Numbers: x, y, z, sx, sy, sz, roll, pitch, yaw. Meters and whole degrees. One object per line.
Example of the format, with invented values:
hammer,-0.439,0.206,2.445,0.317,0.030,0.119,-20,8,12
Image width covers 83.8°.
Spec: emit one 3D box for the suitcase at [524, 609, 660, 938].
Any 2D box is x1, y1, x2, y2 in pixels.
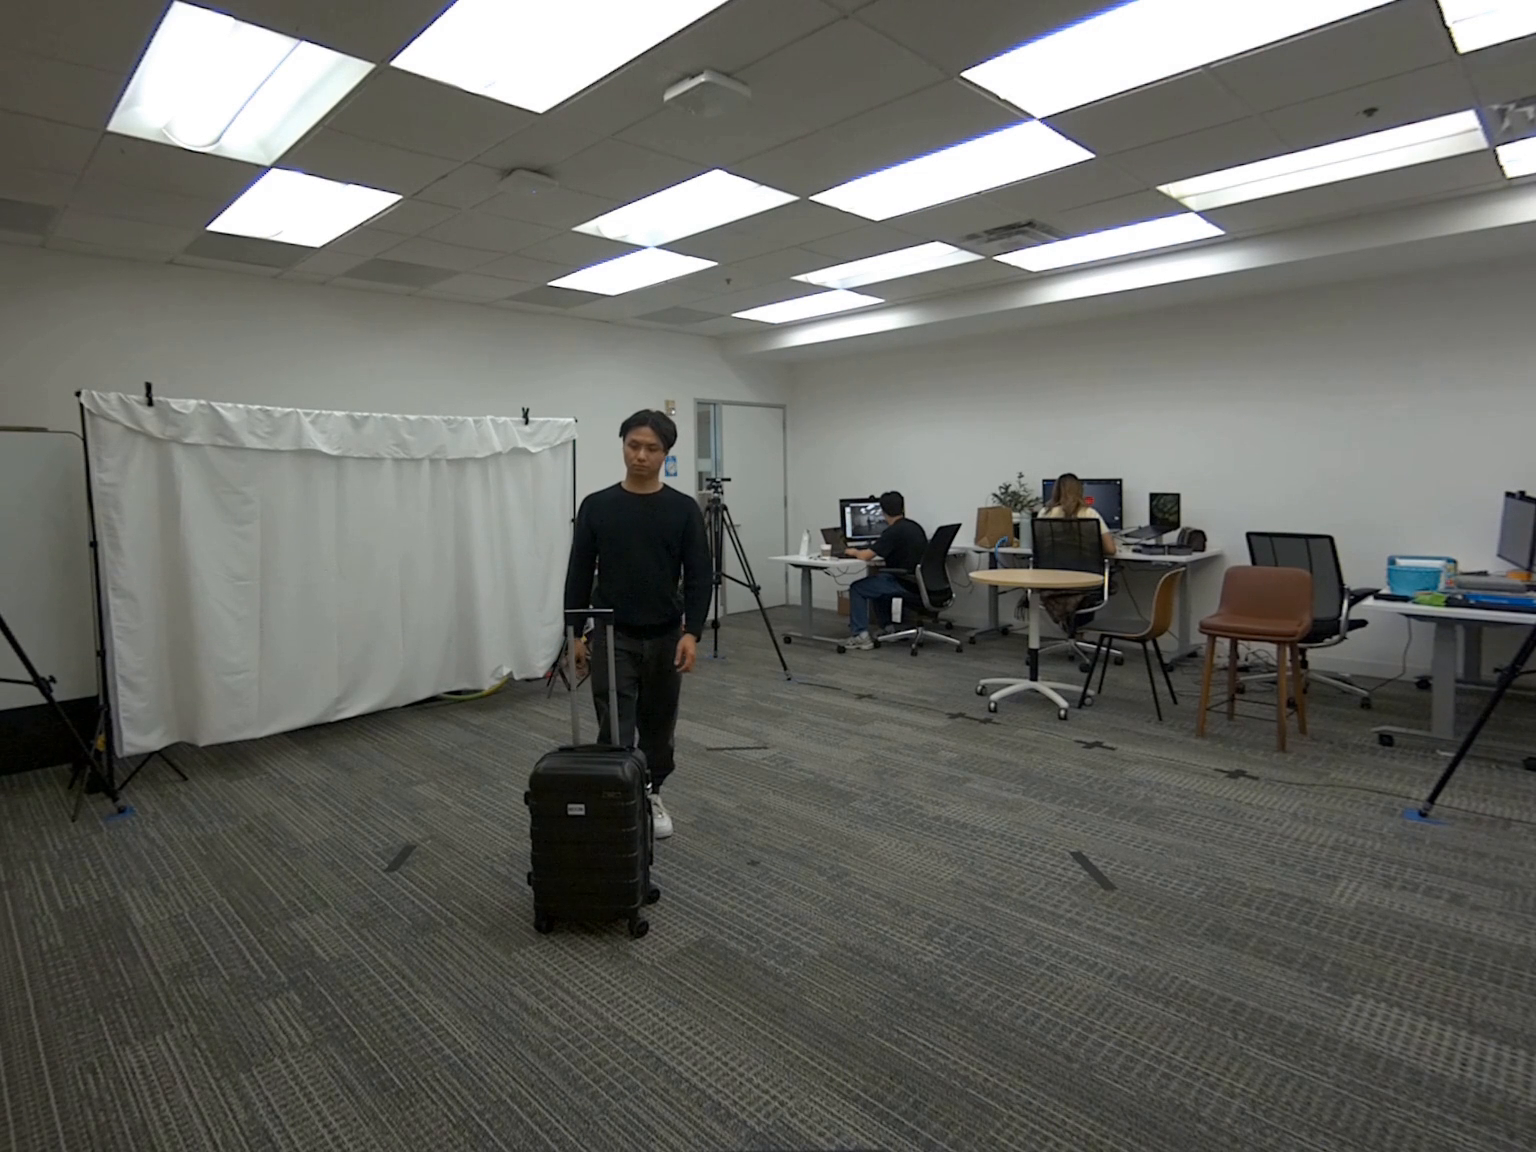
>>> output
suitcase,-0.567,0.625,2.696,0.386,0.973,0.257,-1,6,5
